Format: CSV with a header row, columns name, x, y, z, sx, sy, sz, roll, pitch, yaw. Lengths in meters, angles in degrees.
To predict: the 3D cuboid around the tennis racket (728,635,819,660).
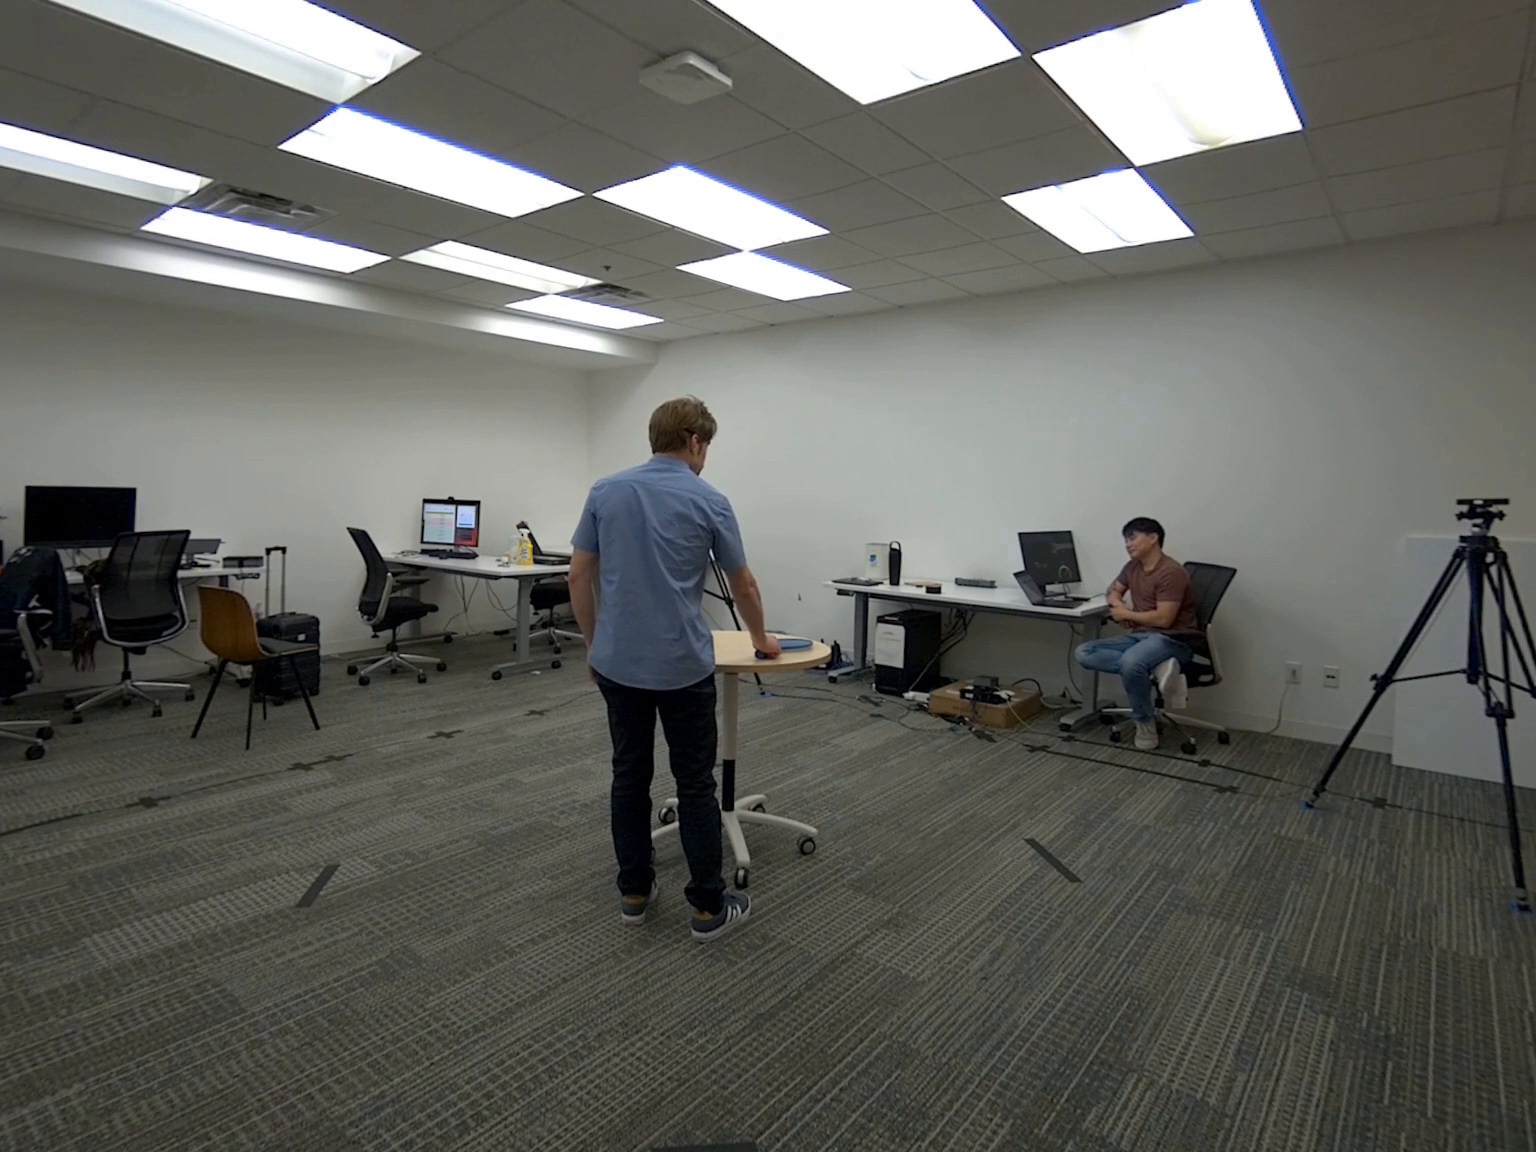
name,x,y,z,sx,sy,sz,roll,pitch,yaw
tennis racket,0.029,0.268,3.229,0.218,0.032,0.424,-2,3,21
